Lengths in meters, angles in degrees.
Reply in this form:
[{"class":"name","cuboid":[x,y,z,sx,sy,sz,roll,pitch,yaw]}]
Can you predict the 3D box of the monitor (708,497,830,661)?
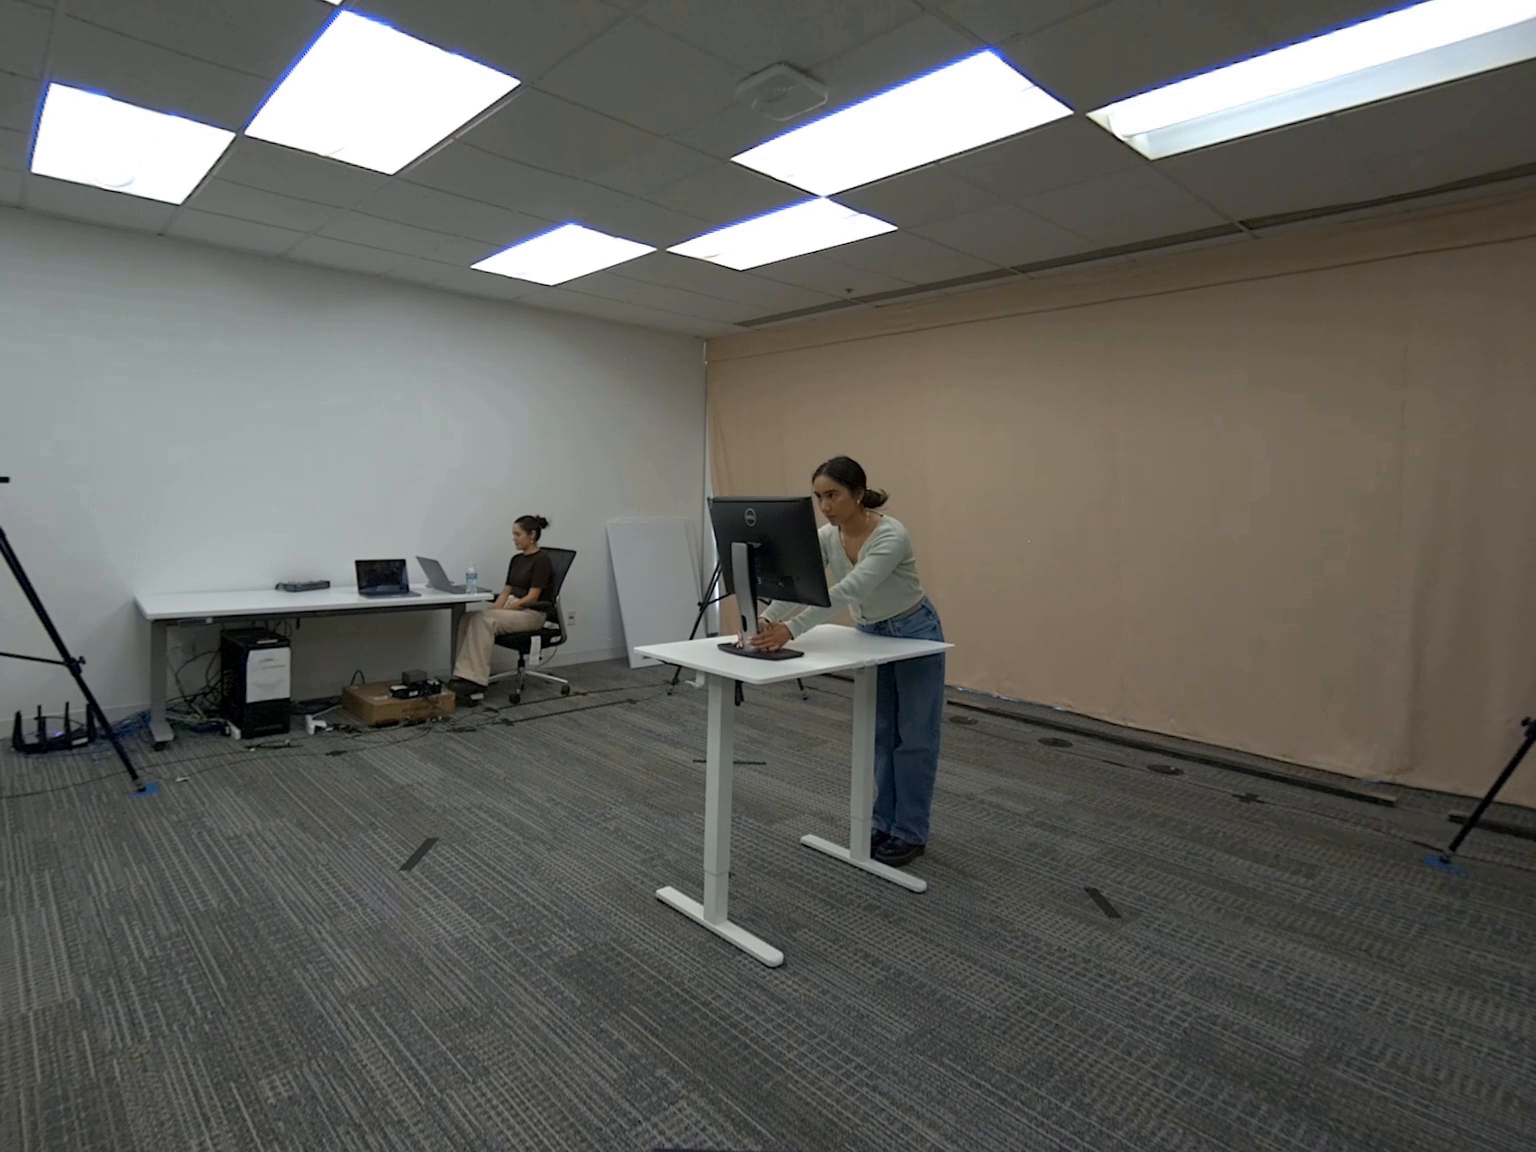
[{"class":"monitor","cuboid":[-0.041,0.002,2.744,0.183,0.521,0.552,-3,5,-40]}]
